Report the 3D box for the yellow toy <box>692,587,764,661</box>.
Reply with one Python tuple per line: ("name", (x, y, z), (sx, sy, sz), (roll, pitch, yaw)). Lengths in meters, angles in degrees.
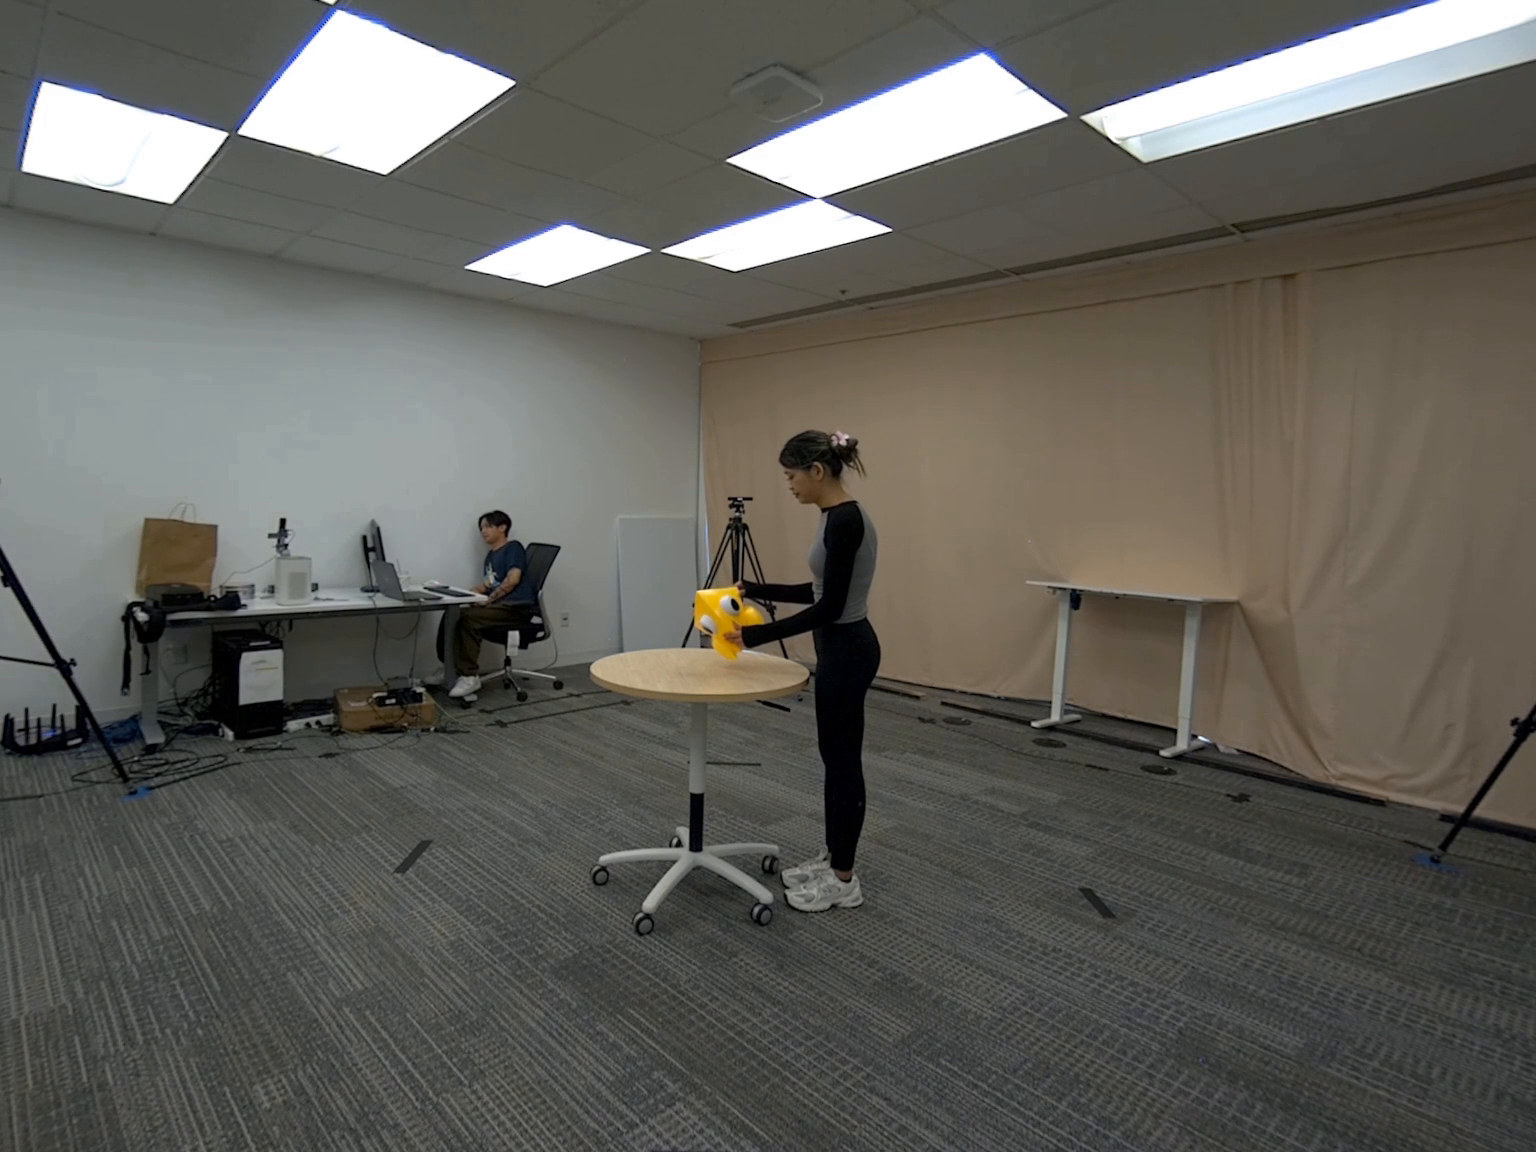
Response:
("yellow toy", (-0.164, 0.141, 2.919), (0.223, 0.205, 0.199), (46, 3, -45))
